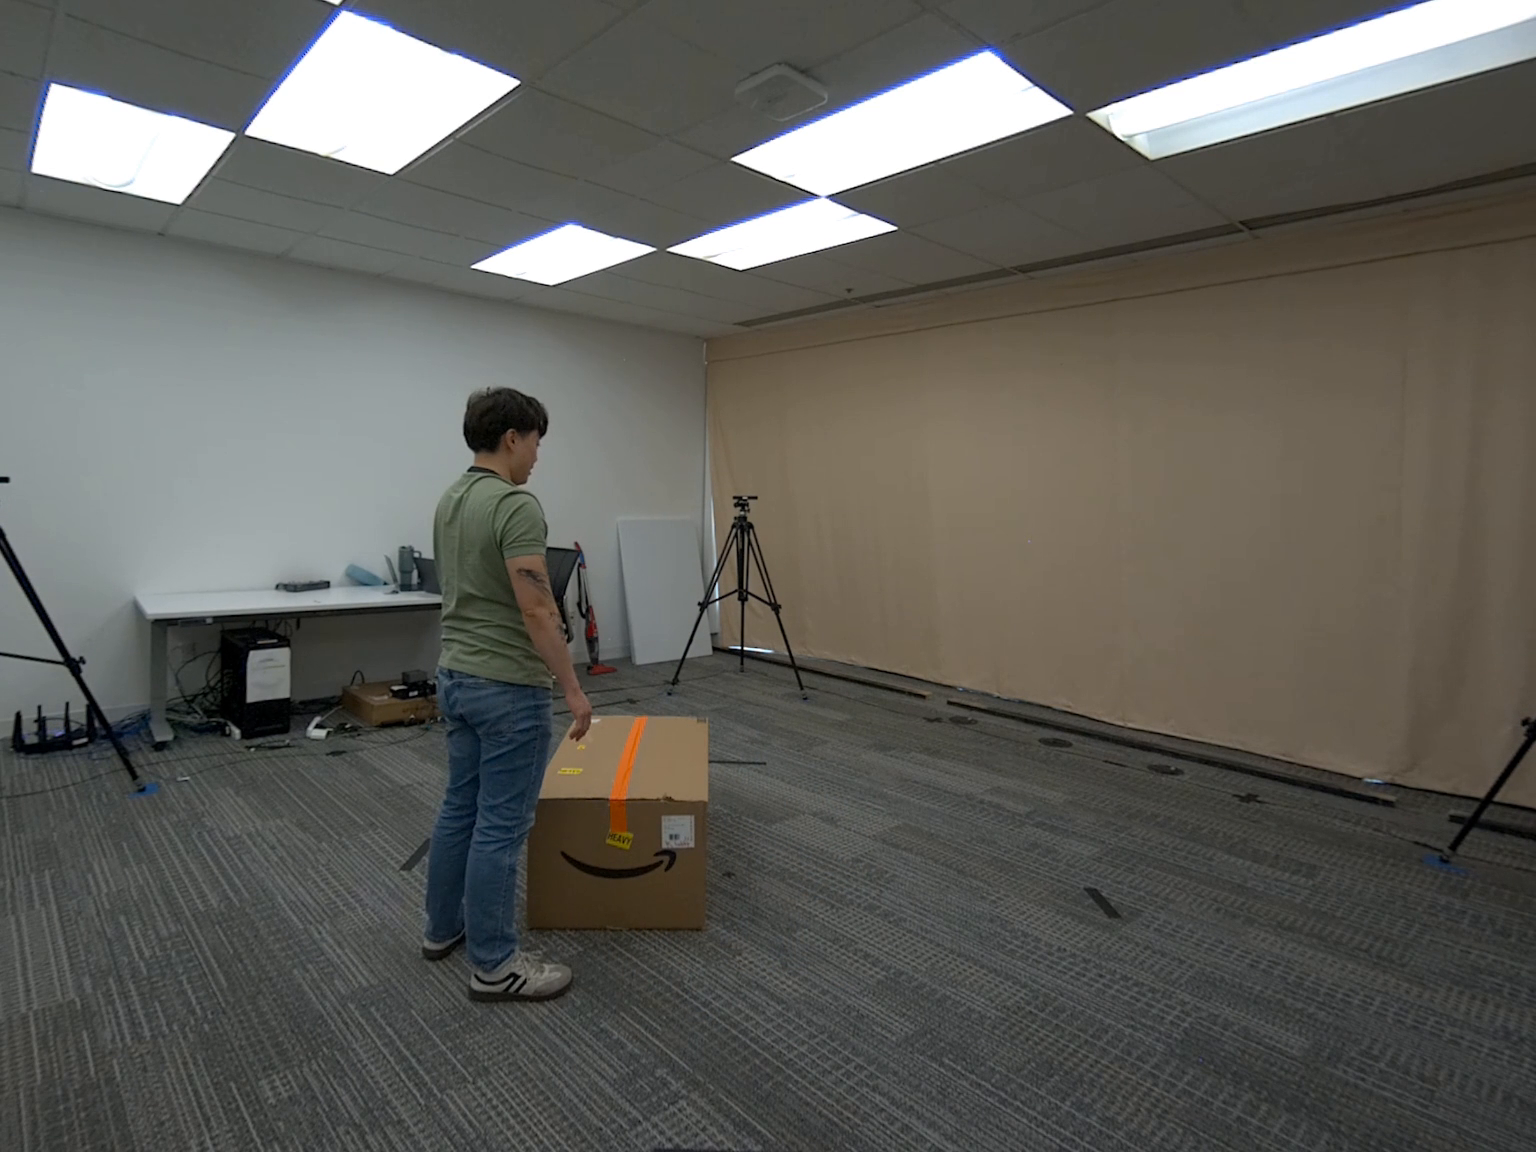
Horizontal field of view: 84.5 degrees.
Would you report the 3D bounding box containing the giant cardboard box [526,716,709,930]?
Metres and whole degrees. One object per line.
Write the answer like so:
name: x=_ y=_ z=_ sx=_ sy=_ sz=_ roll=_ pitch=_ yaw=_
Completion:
giant cardboard box: x=-0.520 y=0.871 z=3.189 sx=0.576 sy=0.425 sz=1.031 roll=0 pitch=5 yaw=-4
